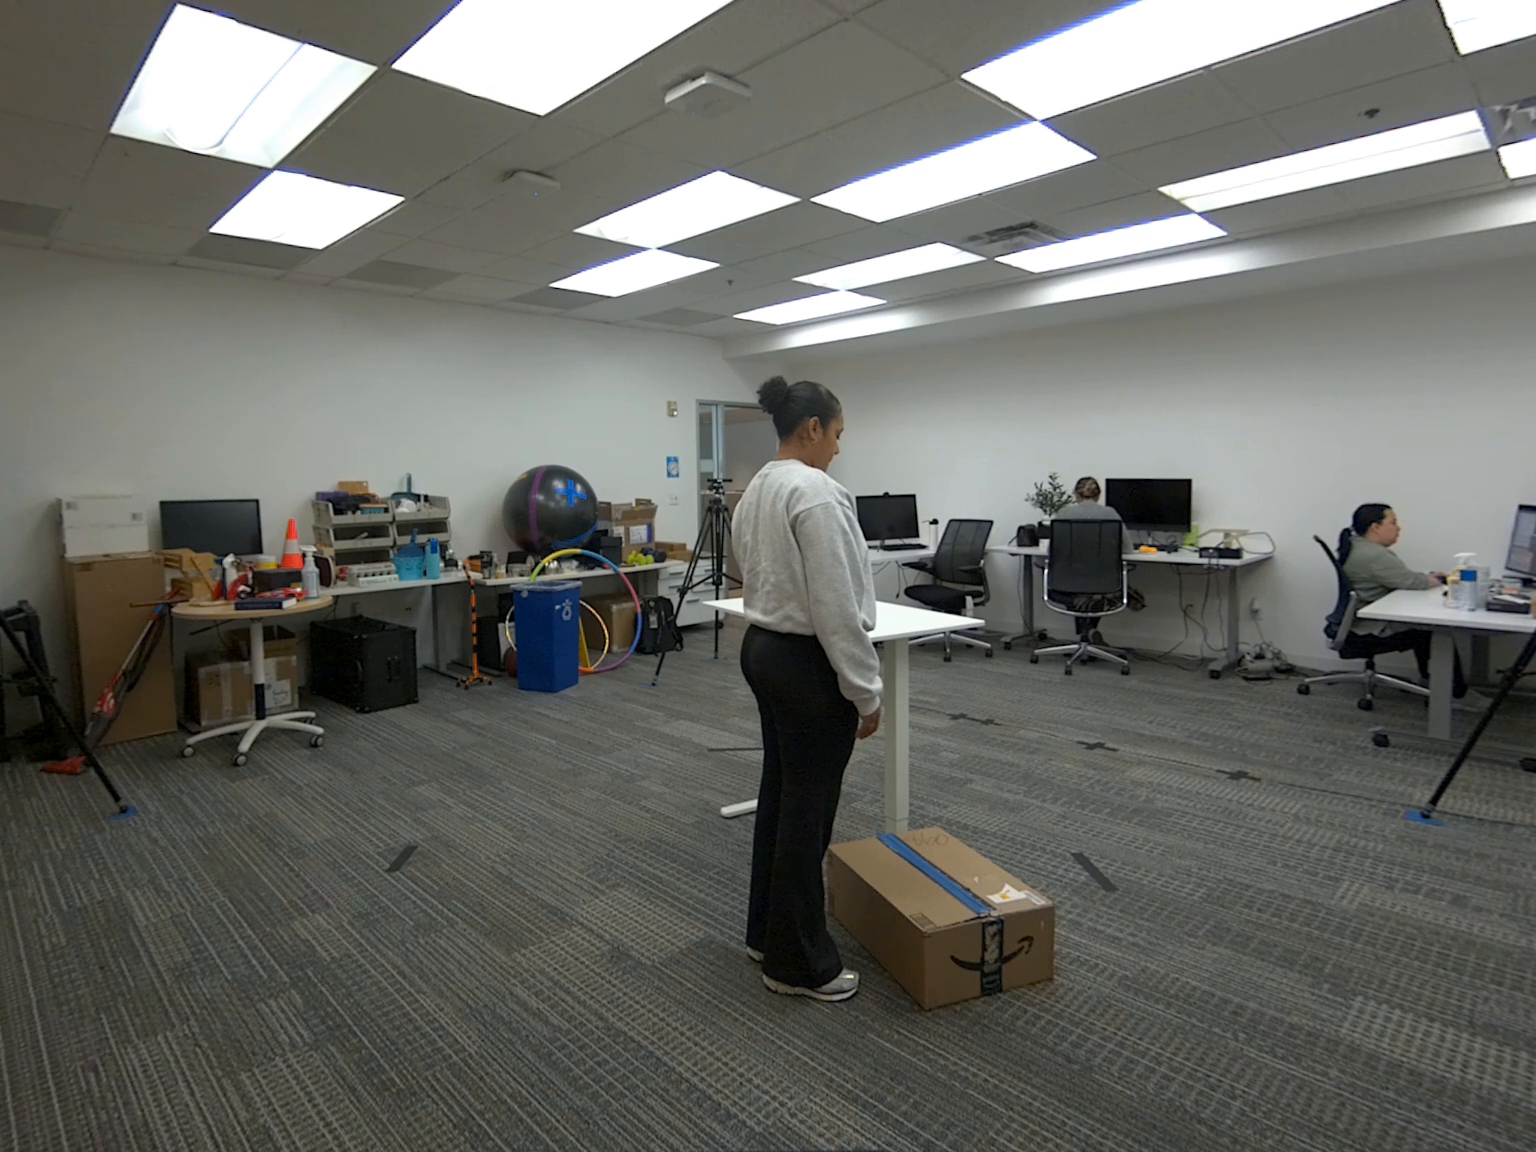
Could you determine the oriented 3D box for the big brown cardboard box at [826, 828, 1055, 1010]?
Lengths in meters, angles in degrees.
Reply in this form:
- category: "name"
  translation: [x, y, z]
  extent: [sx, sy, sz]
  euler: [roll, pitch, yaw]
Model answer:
- category: "big brown cardboard box"
  translation: [0.499, 0.991, 2.547]
  extent: [0.410, 0.232, 0.602]
  euler: [-4, 6, -22]
